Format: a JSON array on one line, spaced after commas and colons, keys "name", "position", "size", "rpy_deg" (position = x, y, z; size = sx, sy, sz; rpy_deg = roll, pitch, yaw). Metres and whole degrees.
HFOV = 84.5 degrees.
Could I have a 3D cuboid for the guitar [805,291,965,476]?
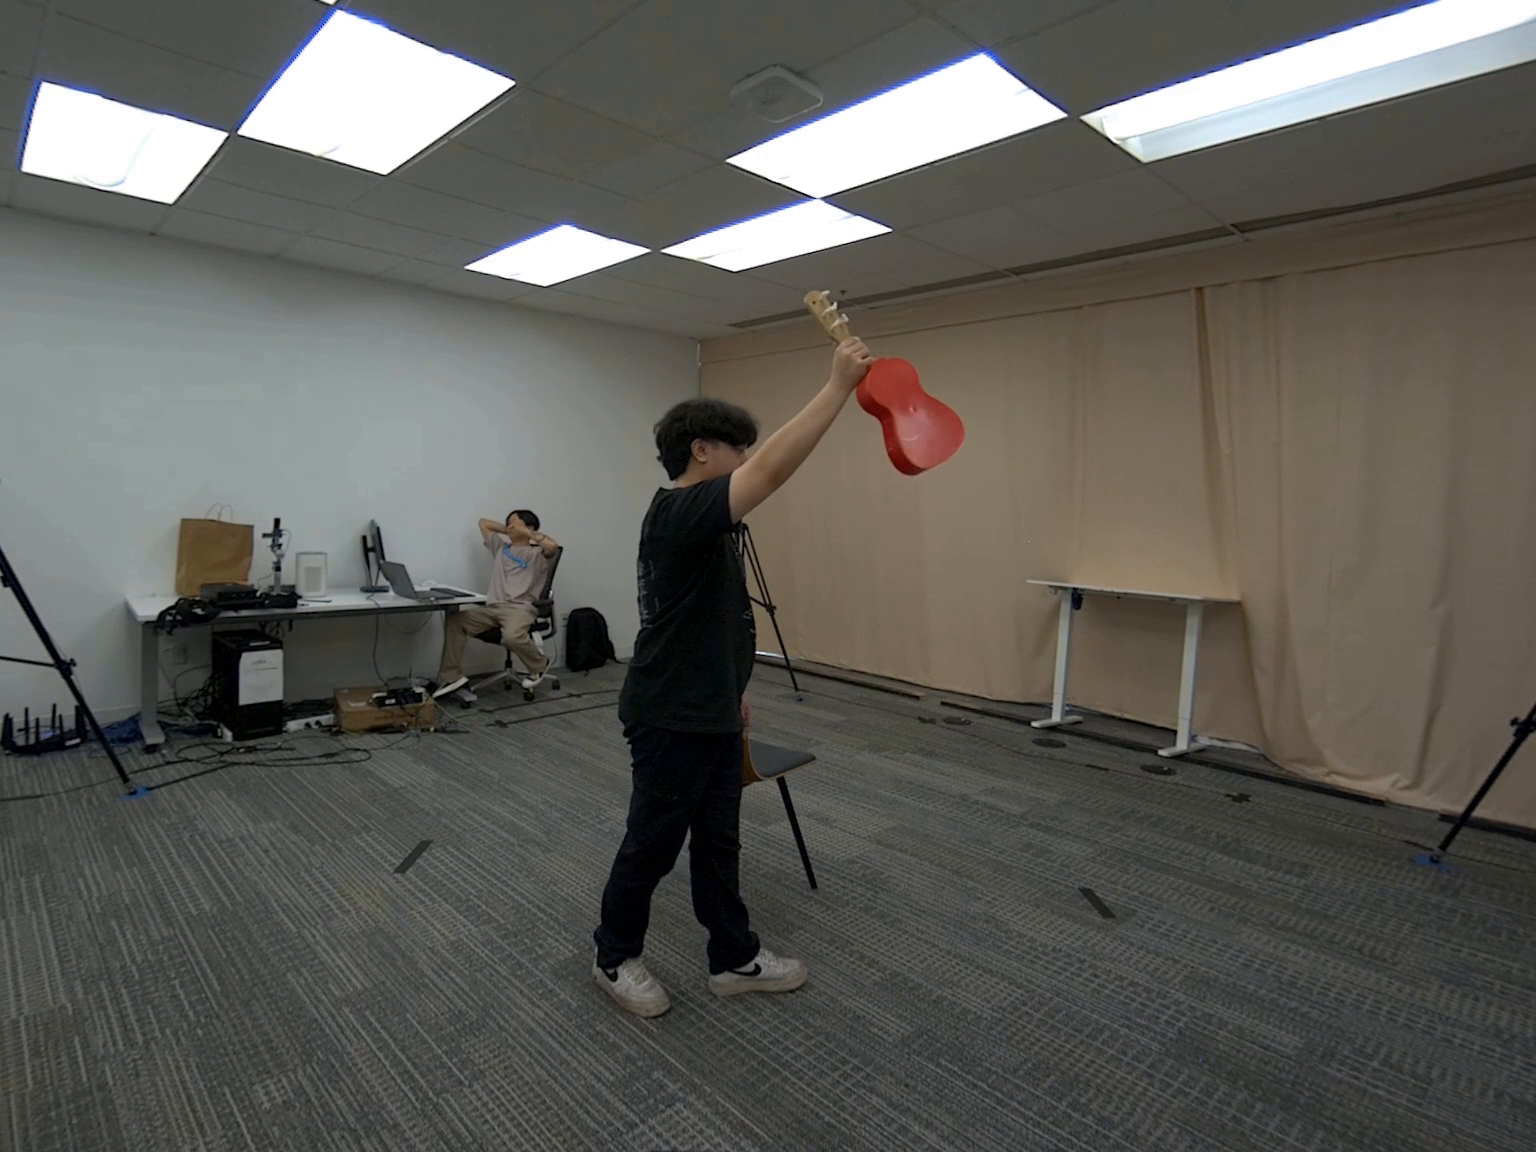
[{"name": "guitar", "position": [0.237, -0.442, 1.938], "size": [0.193, 0.496, 0.071], "rpy_deg": [-45, 2, -25]}]
